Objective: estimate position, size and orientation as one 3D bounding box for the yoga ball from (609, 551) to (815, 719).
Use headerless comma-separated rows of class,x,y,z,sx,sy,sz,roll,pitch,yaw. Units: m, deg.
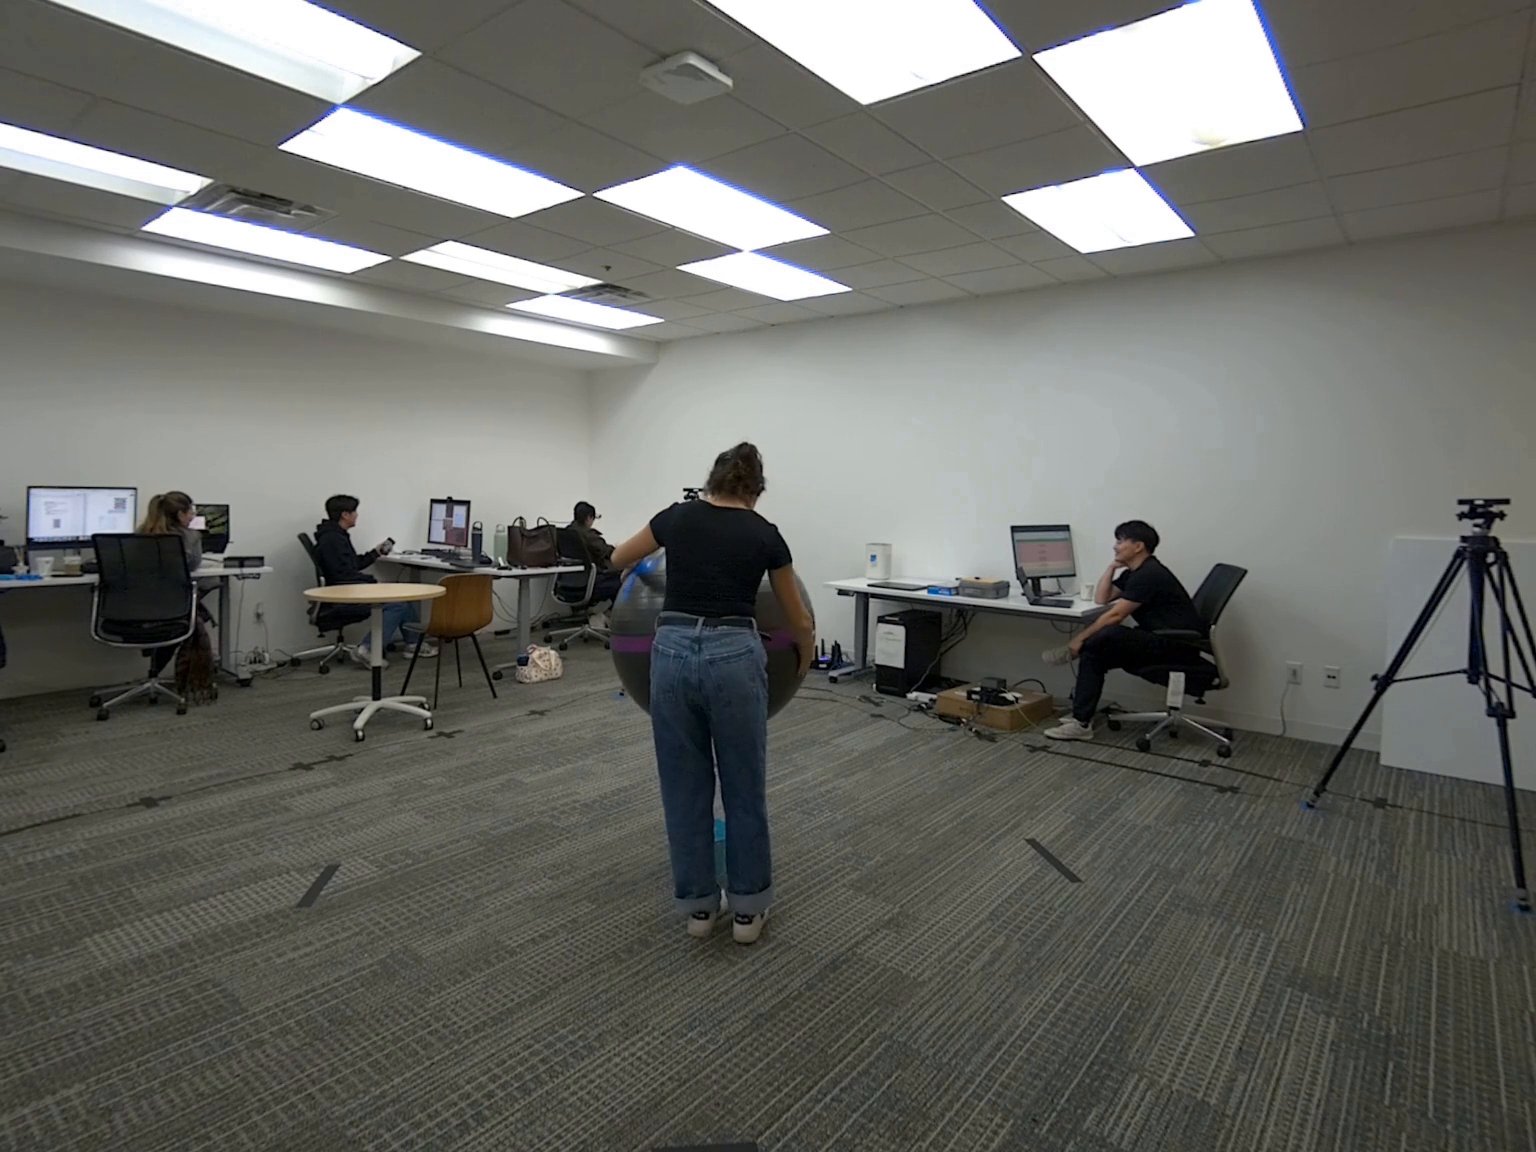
yoga ball,-0.209,0.205,3.156,0.757,0.756,0.762,1,4,-2
